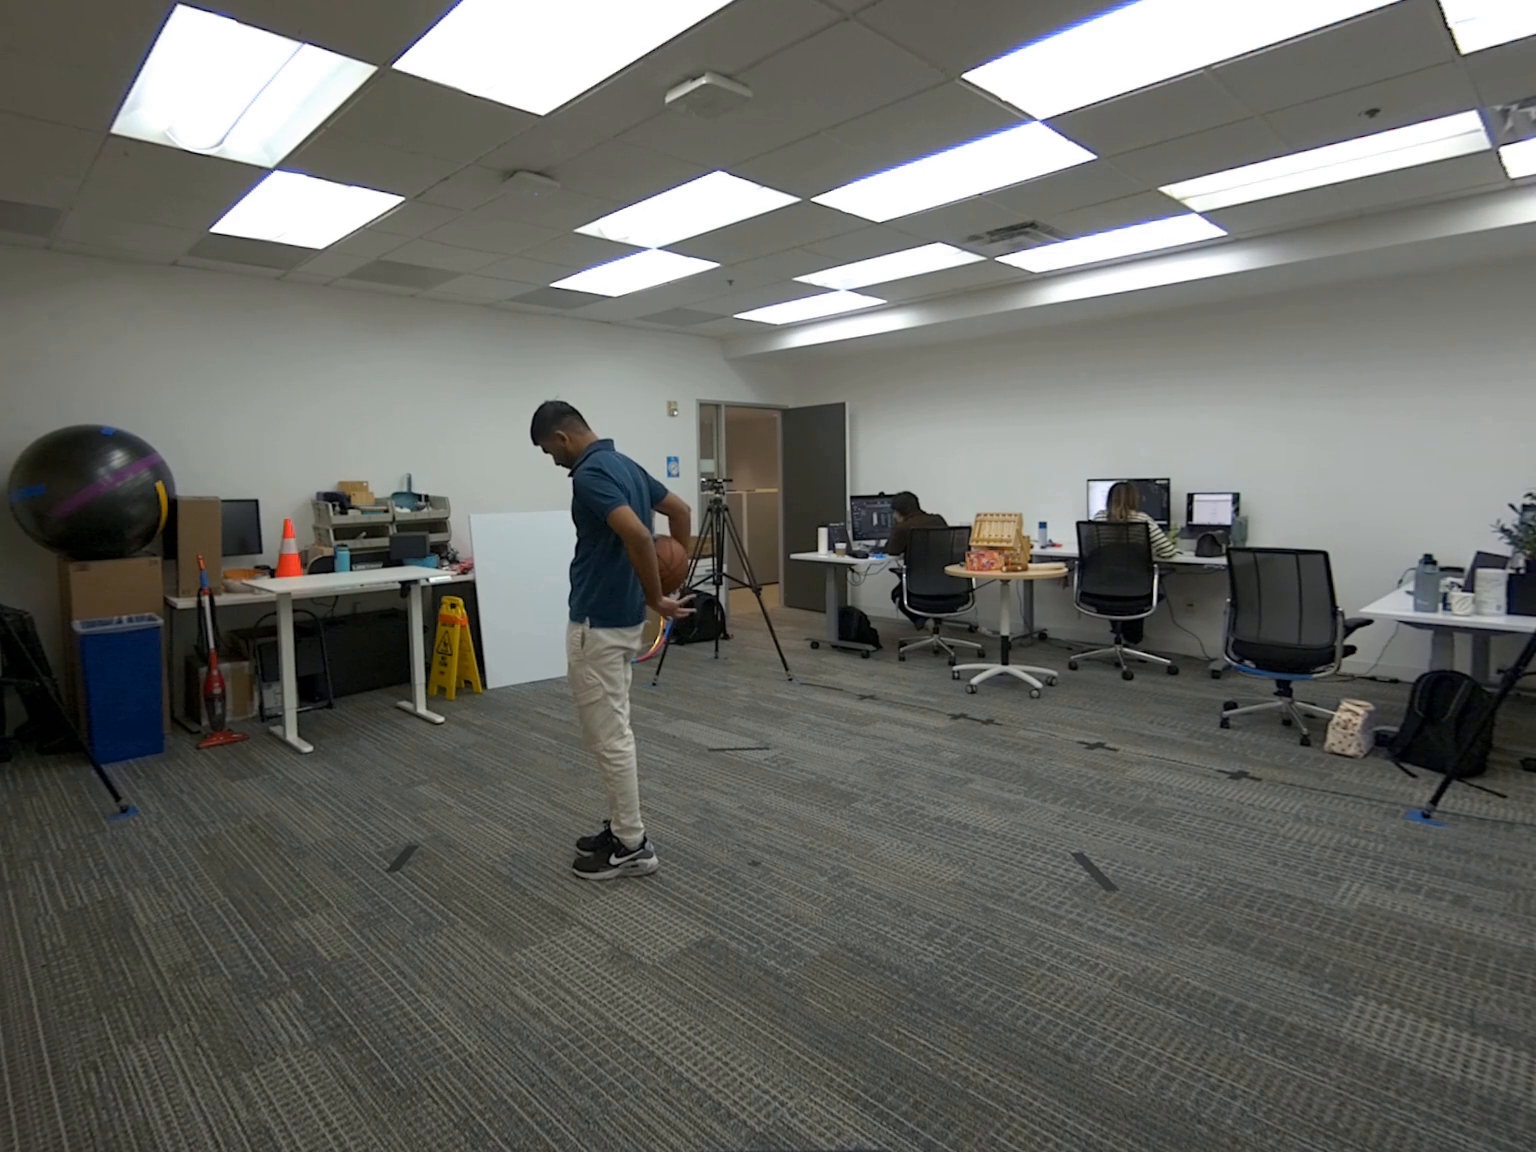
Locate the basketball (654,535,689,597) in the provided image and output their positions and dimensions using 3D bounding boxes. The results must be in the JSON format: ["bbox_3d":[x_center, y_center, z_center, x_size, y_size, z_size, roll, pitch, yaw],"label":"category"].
[{"bbox_3d":[-0.414,-0.033,3.226,0.236,0.235,0.237,-1,5,-2],"label":"basketball"}]
